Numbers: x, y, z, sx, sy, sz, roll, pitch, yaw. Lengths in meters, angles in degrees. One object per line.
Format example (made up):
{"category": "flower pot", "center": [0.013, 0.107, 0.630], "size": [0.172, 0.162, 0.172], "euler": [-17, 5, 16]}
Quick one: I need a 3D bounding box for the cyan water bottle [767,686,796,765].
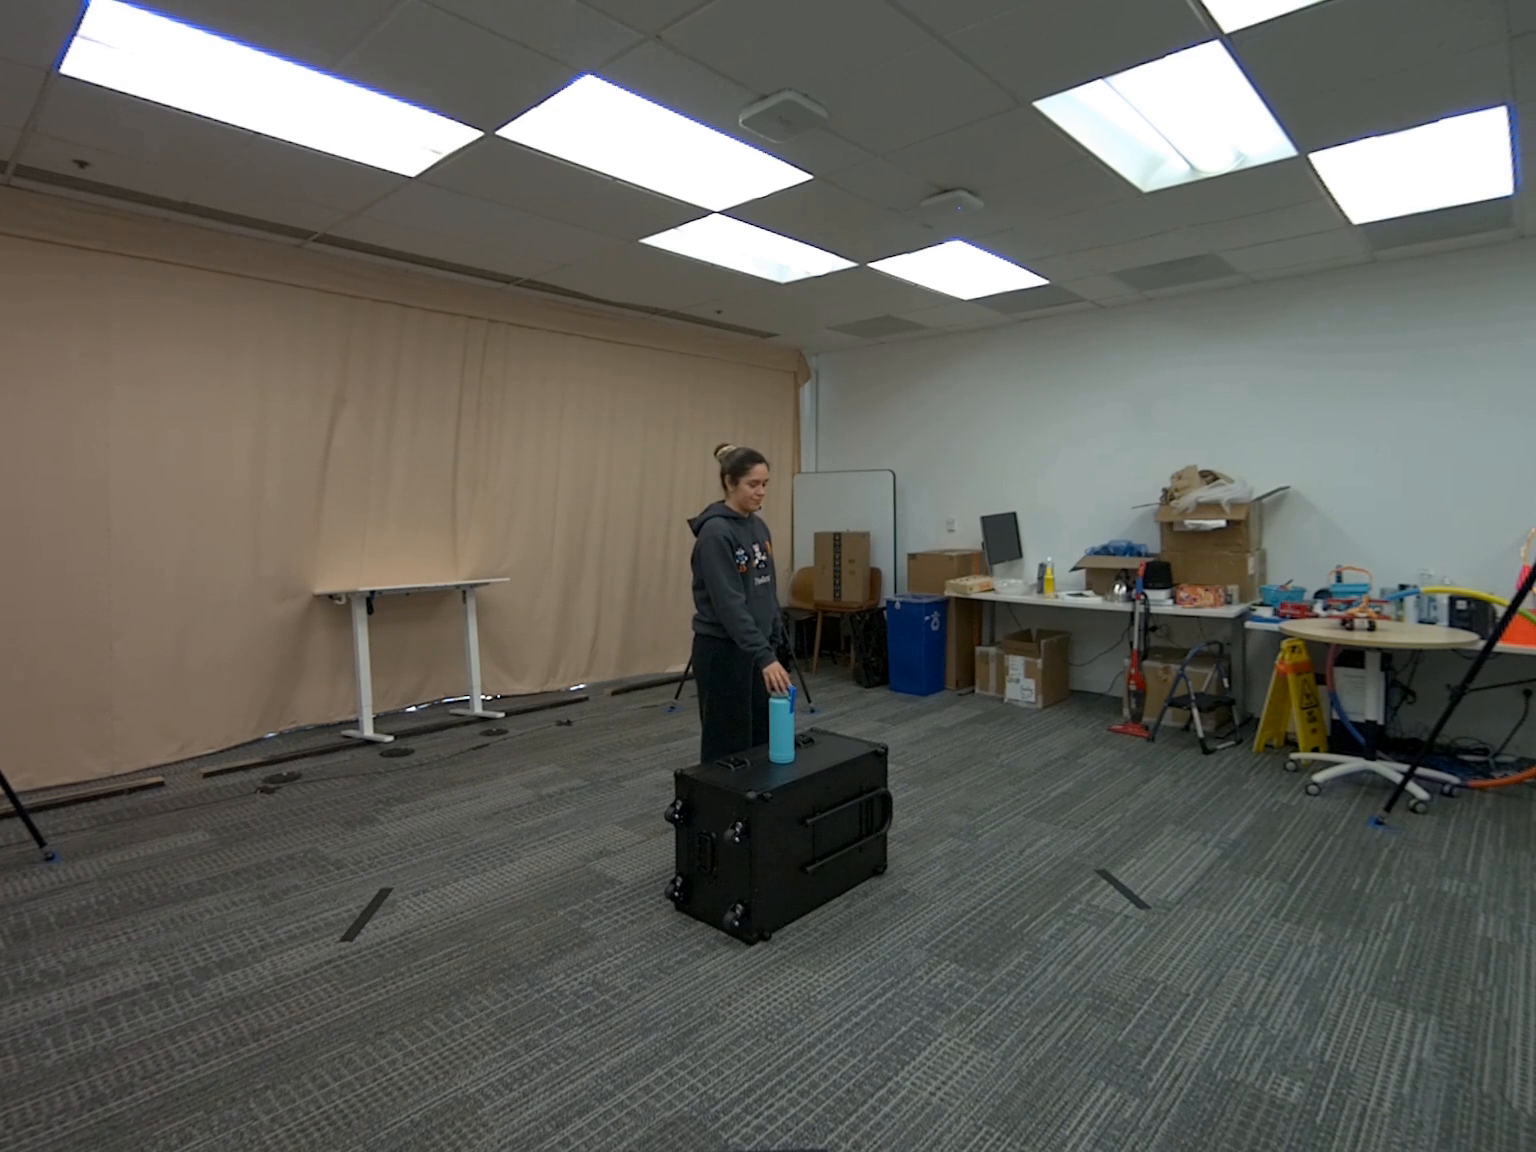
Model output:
{"category": "cyan water bottle", "center": [0.067, 0.520, 3.009], "size": [0.092, 0.283, 0.092], "euler": [3, 1, -2]}
